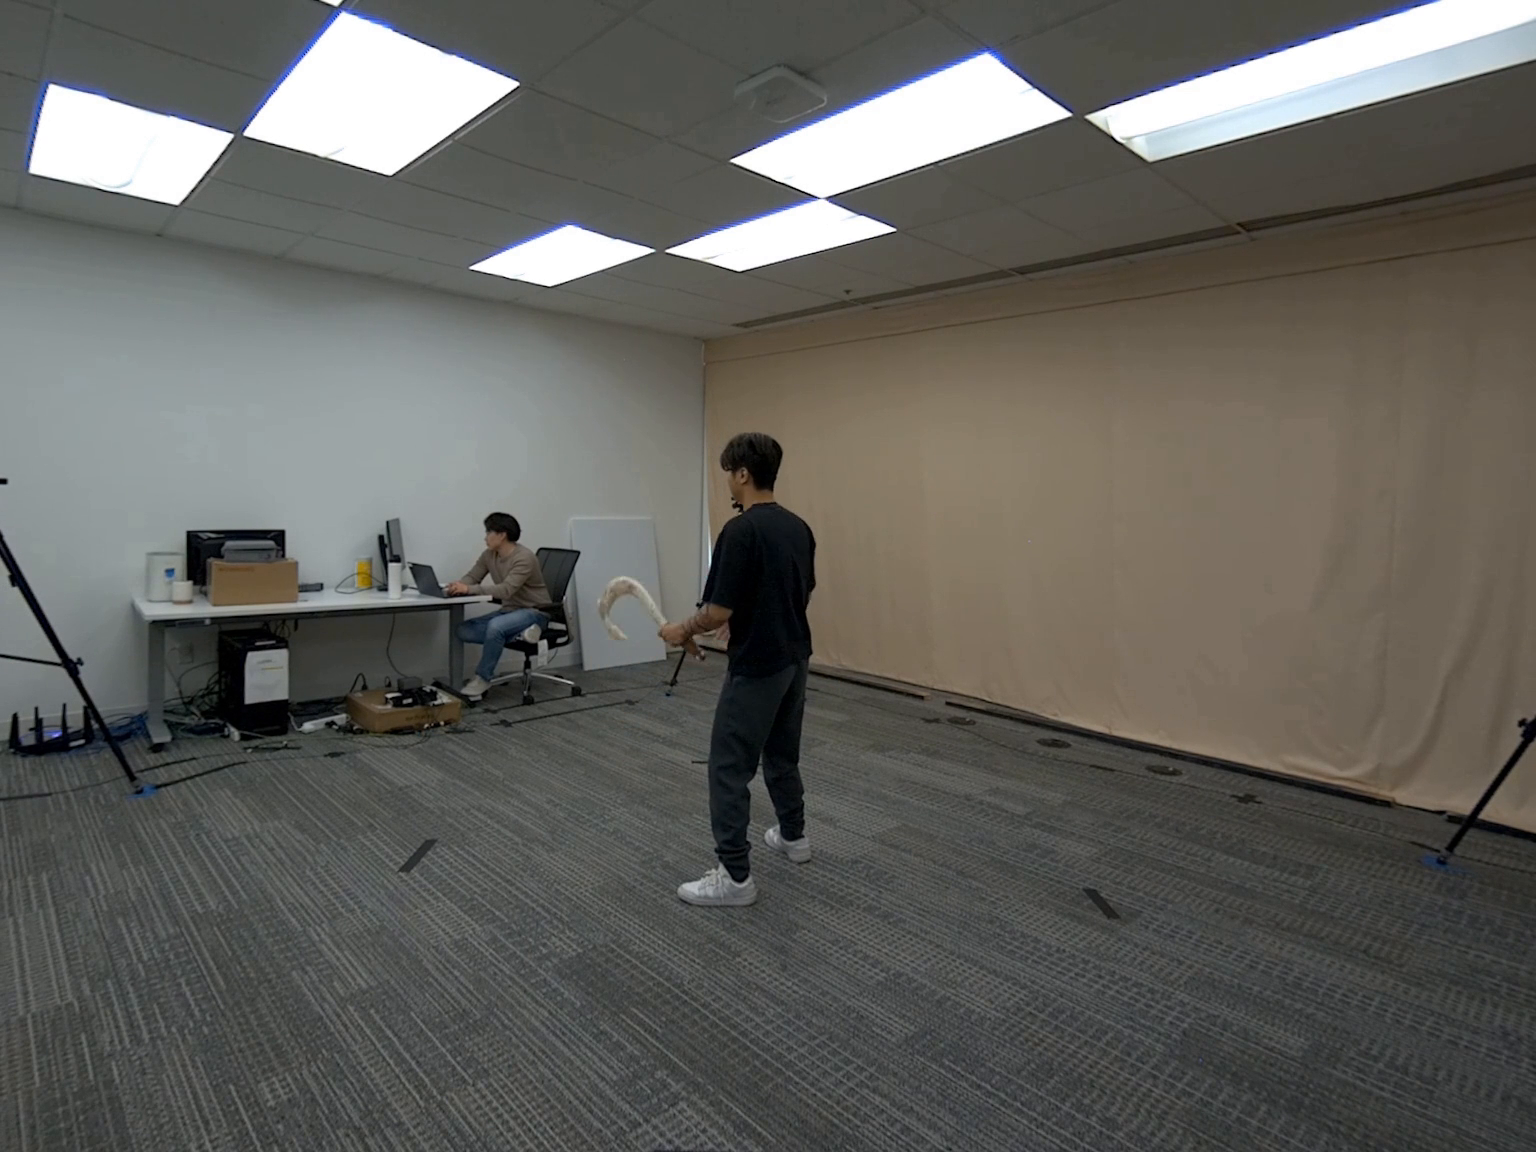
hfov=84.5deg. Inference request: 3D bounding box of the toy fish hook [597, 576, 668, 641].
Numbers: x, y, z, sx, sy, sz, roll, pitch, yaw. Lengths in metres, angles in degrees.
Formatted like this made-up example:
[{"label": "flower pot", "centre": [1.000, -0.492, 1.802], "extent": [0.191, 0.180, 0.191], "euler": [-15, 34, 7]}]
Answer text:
[{"label": "toy fish hook", "centre": [-0.424, 0.189, 3.119], "extent": [0.519, 0.224, 0.047], "euler": [36, 13, 25]}]
